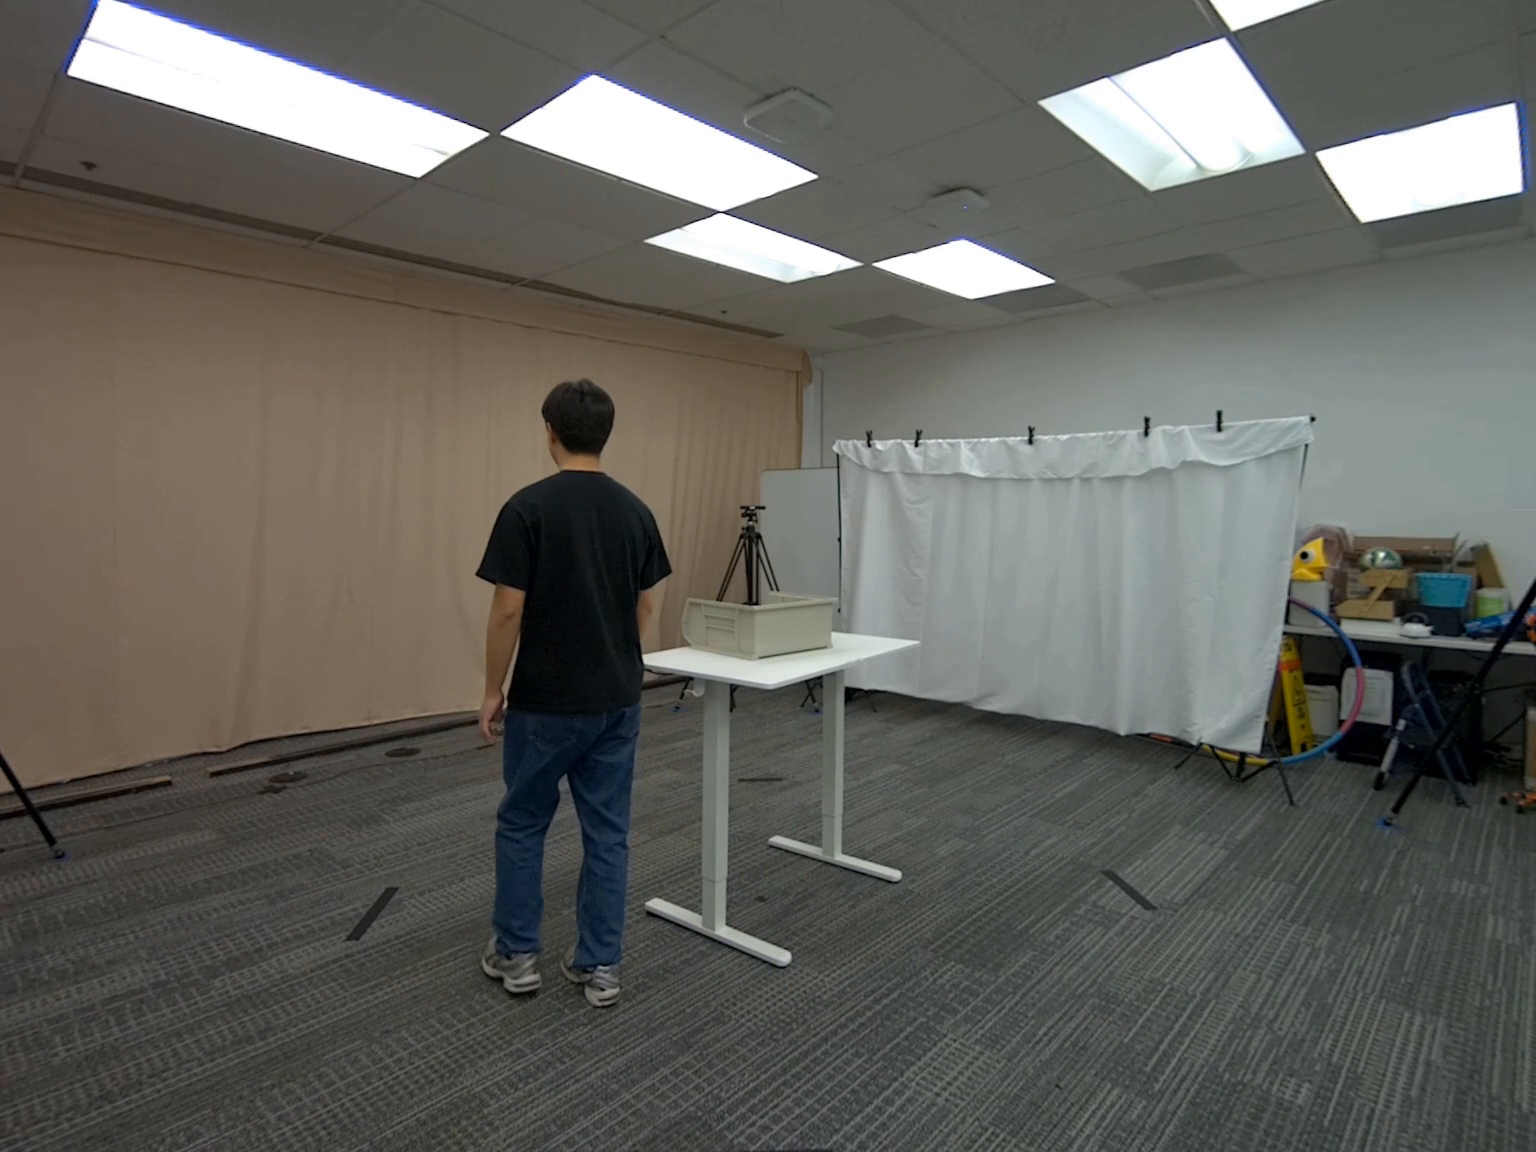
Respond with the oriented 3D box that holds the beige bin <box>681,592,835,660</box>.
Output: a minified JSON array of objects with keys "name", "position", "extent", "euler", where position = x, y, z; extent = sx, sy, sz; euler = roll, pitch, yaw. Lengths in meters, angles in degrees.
[{"name":"beige bin","position":[-0.031,0.168,3.018],"extent":[0.409,0.188,0.390],"euler":[-3,7,-44]}]
